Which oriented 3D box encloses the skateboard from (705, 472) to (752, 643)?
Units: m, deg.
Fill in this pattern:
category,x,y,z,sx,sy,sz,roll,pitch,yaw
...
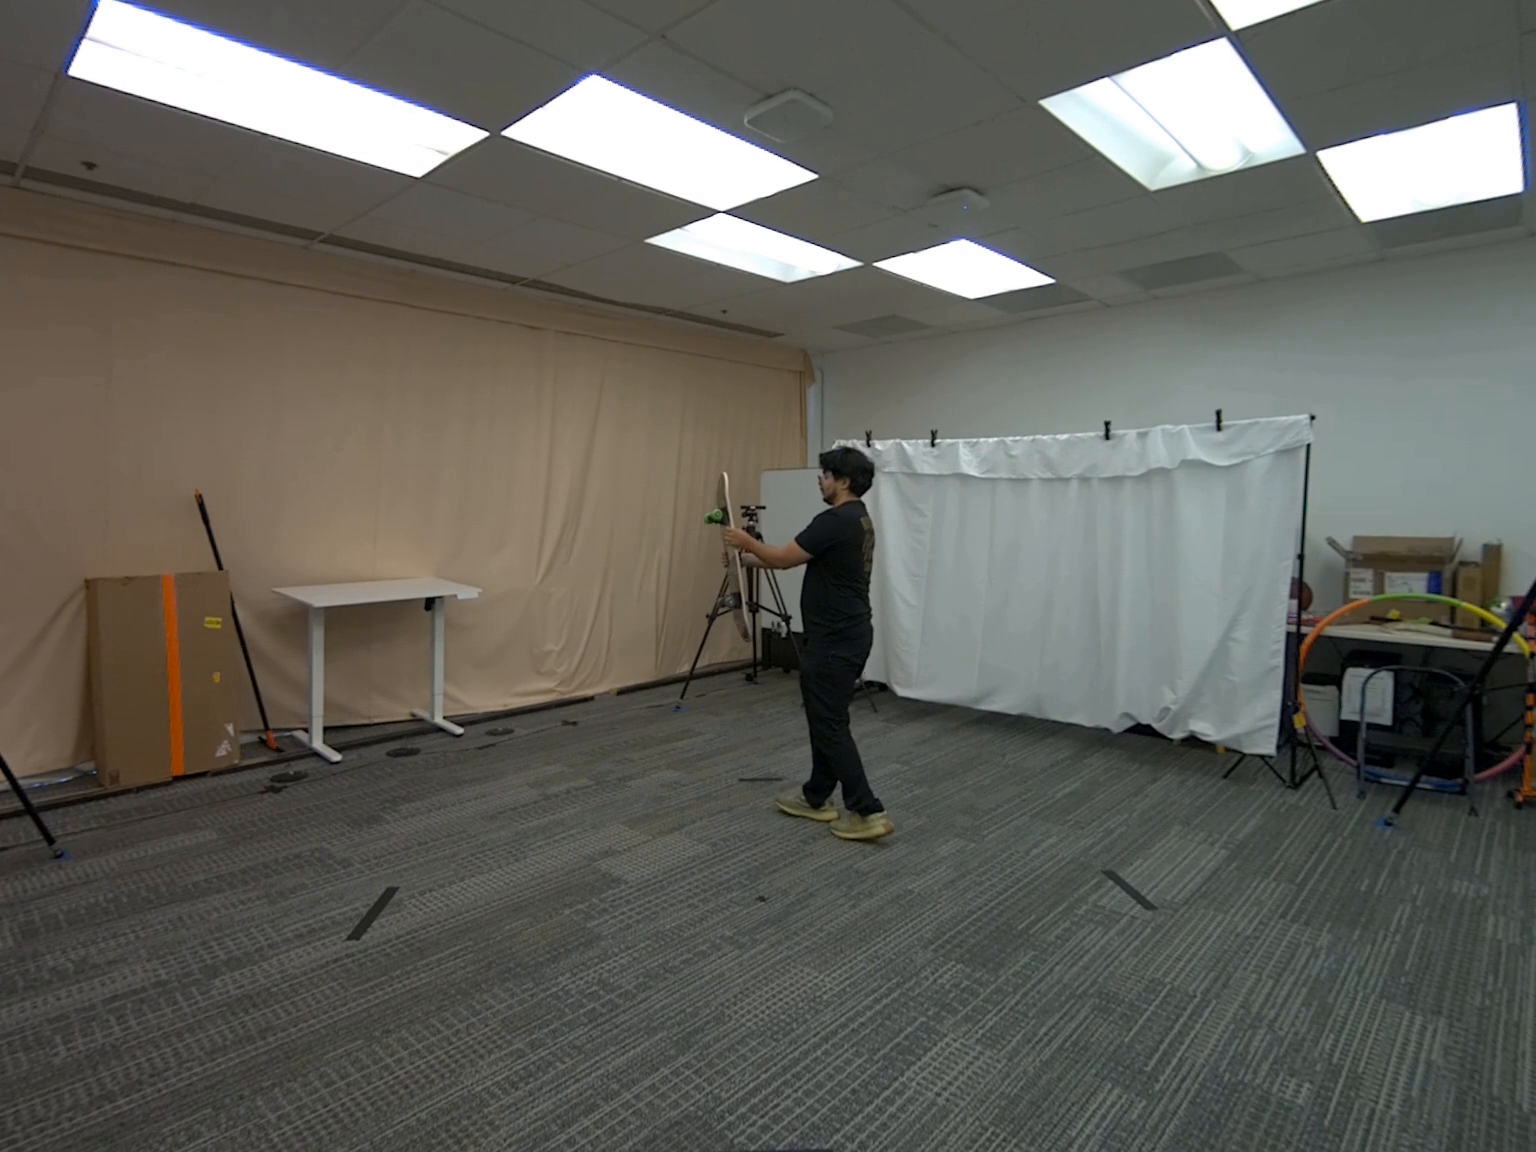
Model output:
category,x,y,z,sx,sy,sz,roll,pitch,yaw
skateboard,-0.190,-0.069,3.877,0.109,0.787,0.195,-8,-2,-14
